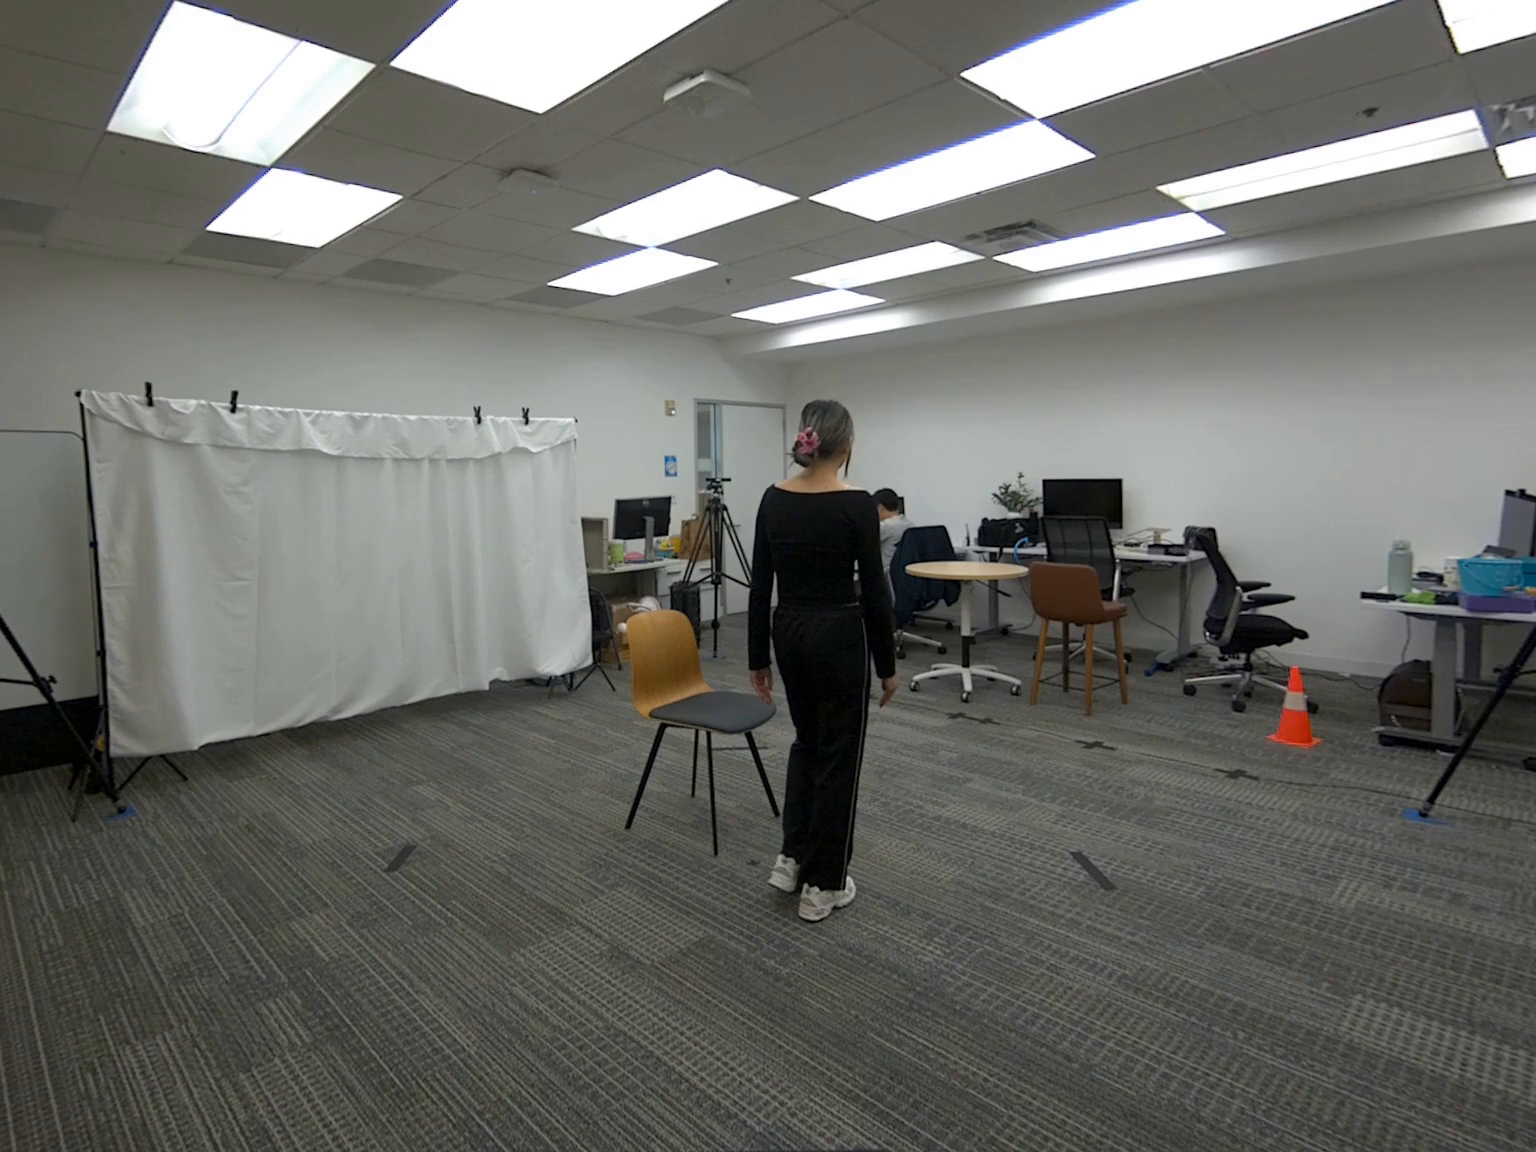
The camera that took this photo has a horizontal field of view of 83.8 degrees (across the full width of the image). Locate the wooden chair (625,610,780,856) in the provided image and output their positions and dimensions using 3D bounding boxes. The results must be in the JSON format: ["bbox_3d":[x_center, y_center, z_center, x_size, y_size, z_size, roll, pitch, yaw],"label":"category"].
[{"bbox_3d":[-0.261,0.580,3.439,0.537,0.877,0.466,-4,1,35],"label":"wooden chair"}]
